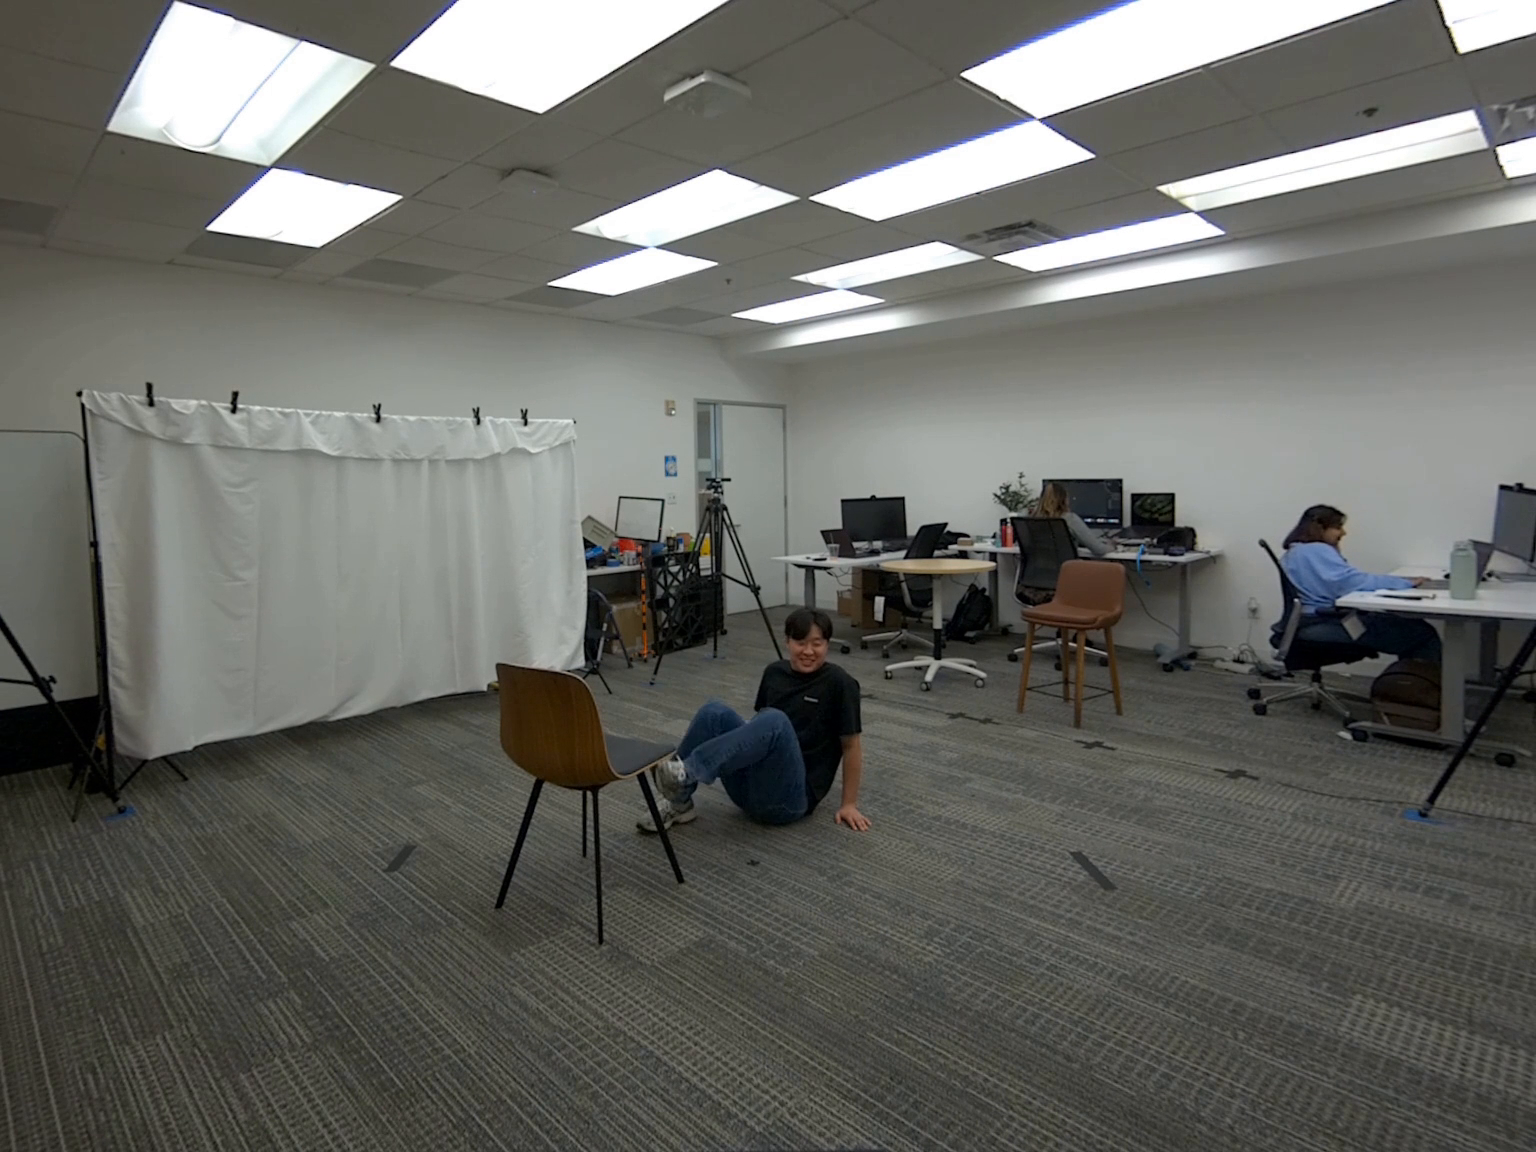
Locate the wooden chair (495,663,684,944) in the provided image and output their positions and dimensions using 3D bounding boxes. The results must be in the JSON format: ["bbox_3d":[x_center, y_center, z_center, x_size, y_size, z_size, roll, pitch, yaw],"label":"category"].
[{"bbox_3d":[-0.594,0.653,2.858,0.491,0.871,0.513,1,9,30],"label":"wooden chair"}]
